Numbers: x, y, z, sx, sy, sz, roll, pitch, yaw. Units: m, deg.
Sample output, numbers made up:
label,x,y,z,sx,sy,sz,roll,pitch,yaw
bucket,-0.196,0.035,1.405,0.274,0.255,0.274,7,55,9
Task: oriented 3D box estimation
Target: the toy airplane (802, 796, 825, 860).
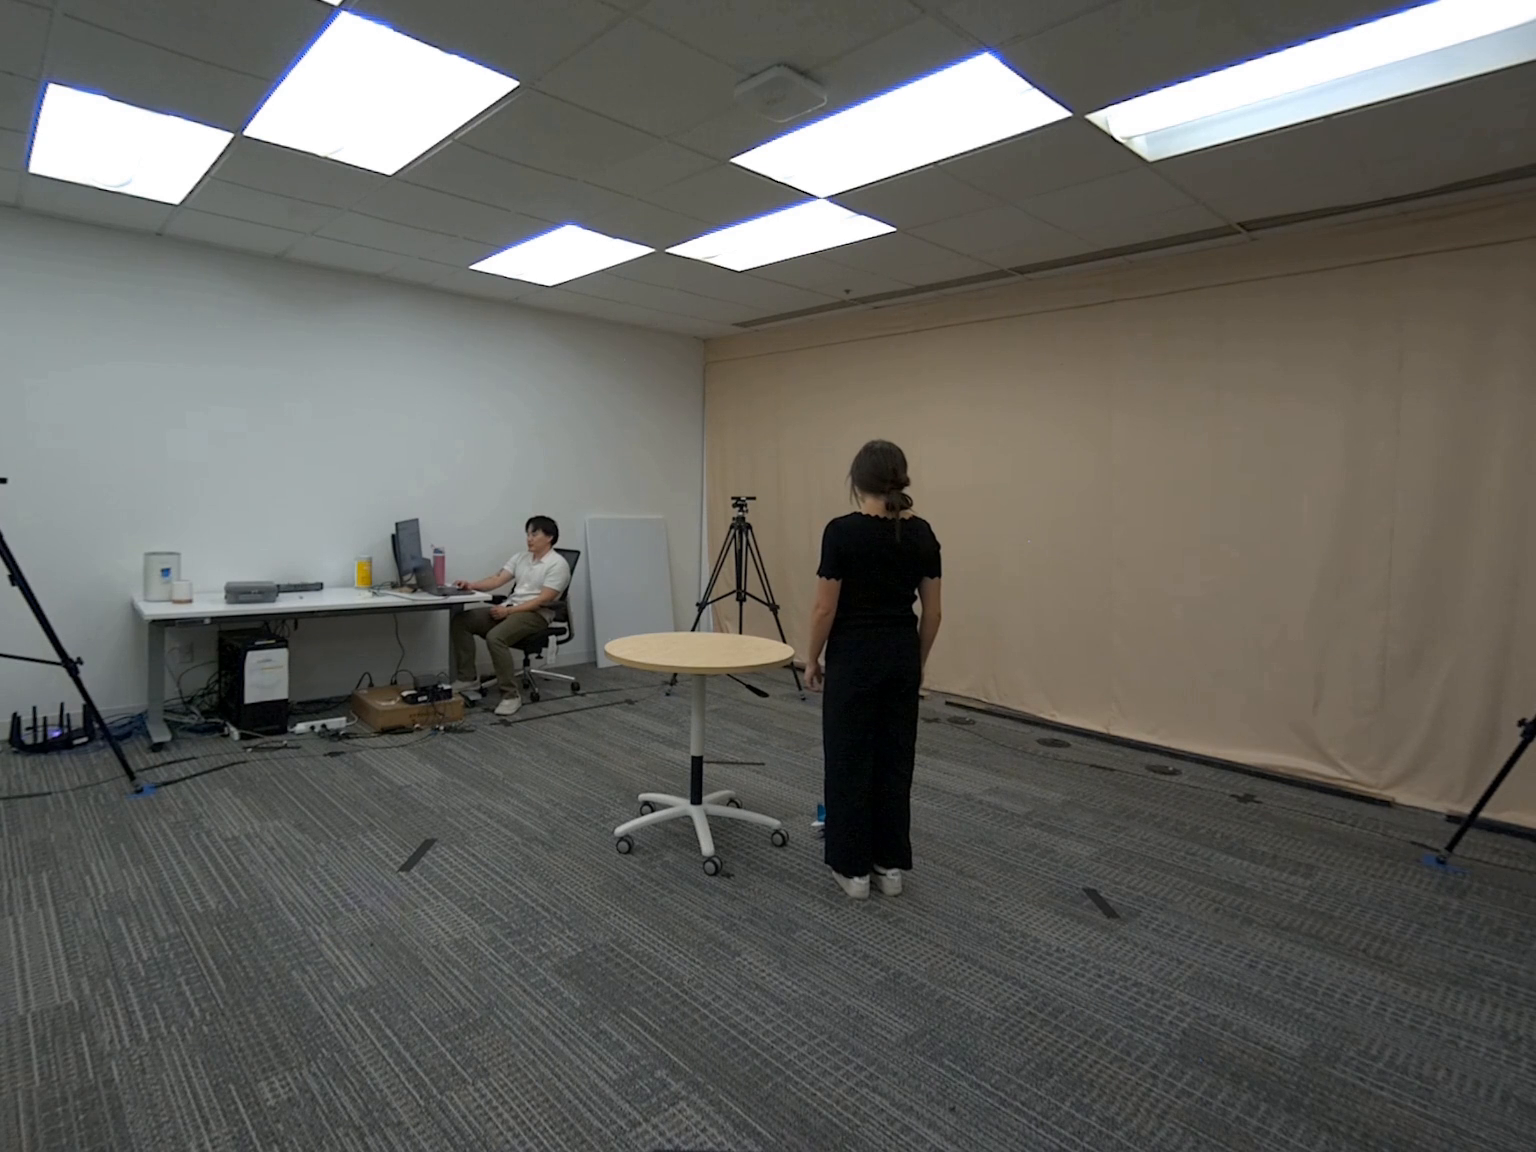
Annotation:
label,x,y,z,sx,sy,sz,roll,pitch,yaw
toy airplane,0.287,1.024,3.420,0.262,0.156,0.249,4,4,11
